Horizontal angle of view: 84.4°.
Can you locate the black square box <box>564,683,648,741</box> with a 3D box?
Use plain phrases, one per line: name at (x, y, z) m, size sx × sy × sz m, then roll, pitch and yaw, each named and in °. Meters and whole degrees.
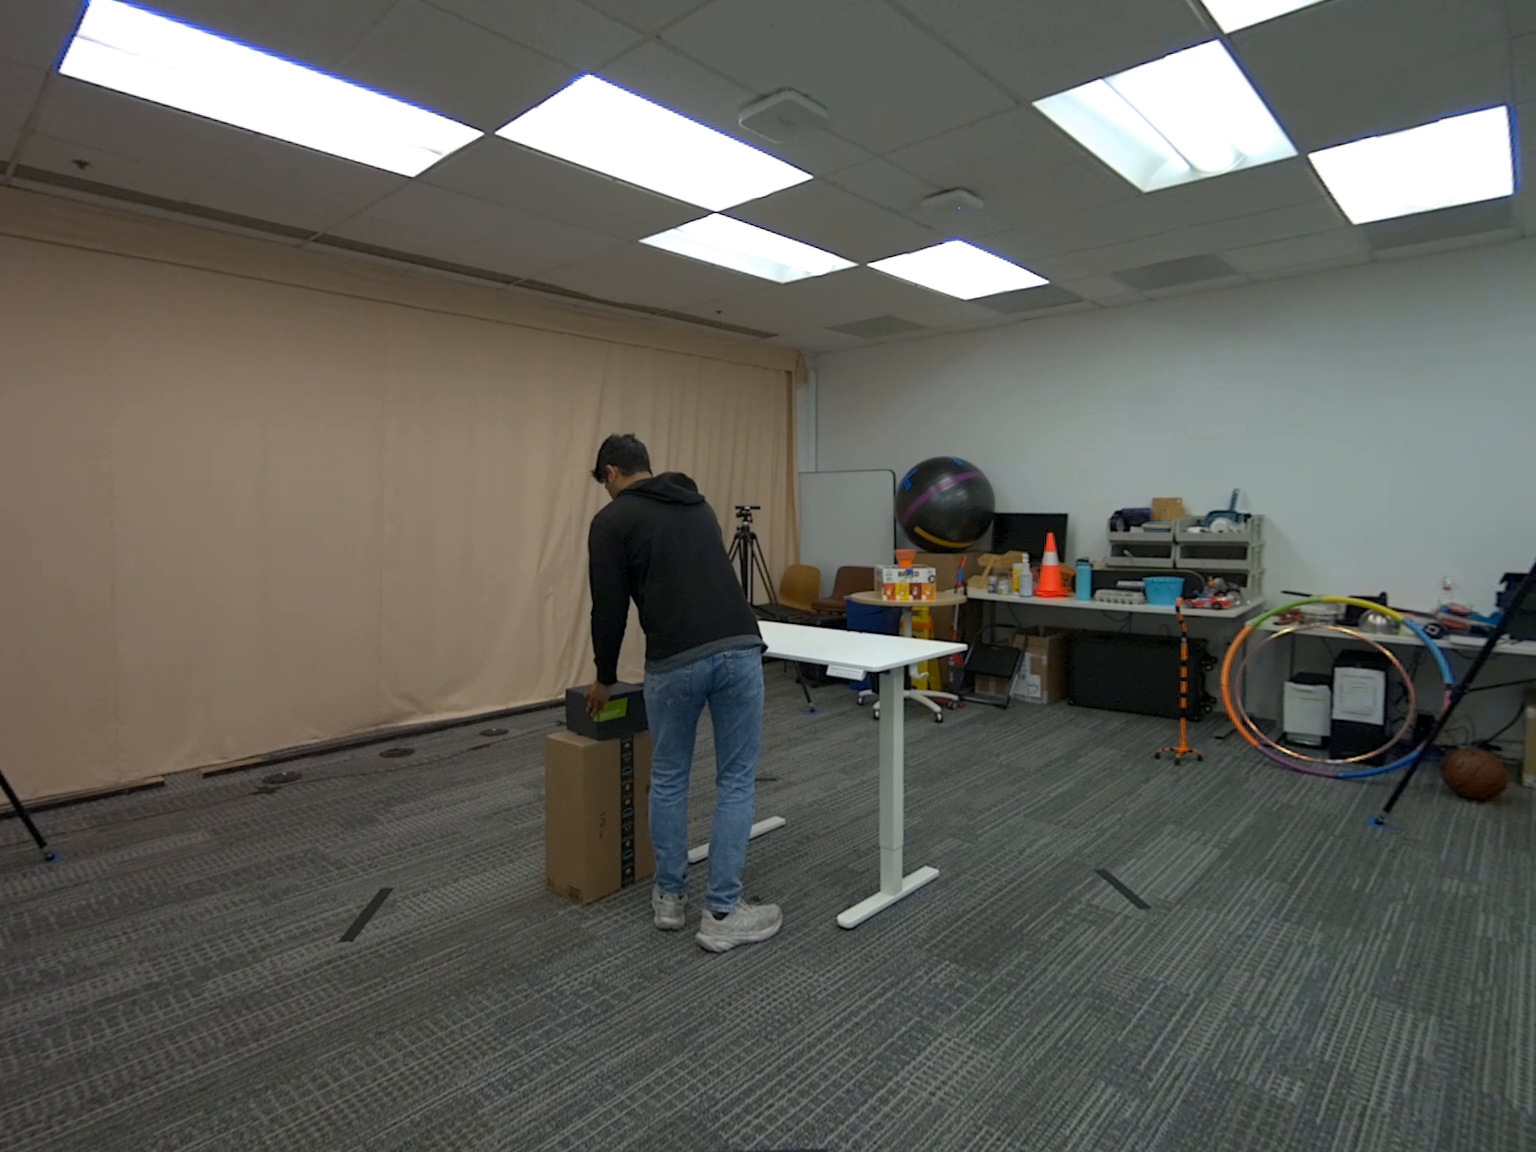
black square box at (-0.592, 0.488, 3.122) m, size 0.221 × 0.155 × 0.224 m, roll -3°, pitch 5°, yaw -44°
